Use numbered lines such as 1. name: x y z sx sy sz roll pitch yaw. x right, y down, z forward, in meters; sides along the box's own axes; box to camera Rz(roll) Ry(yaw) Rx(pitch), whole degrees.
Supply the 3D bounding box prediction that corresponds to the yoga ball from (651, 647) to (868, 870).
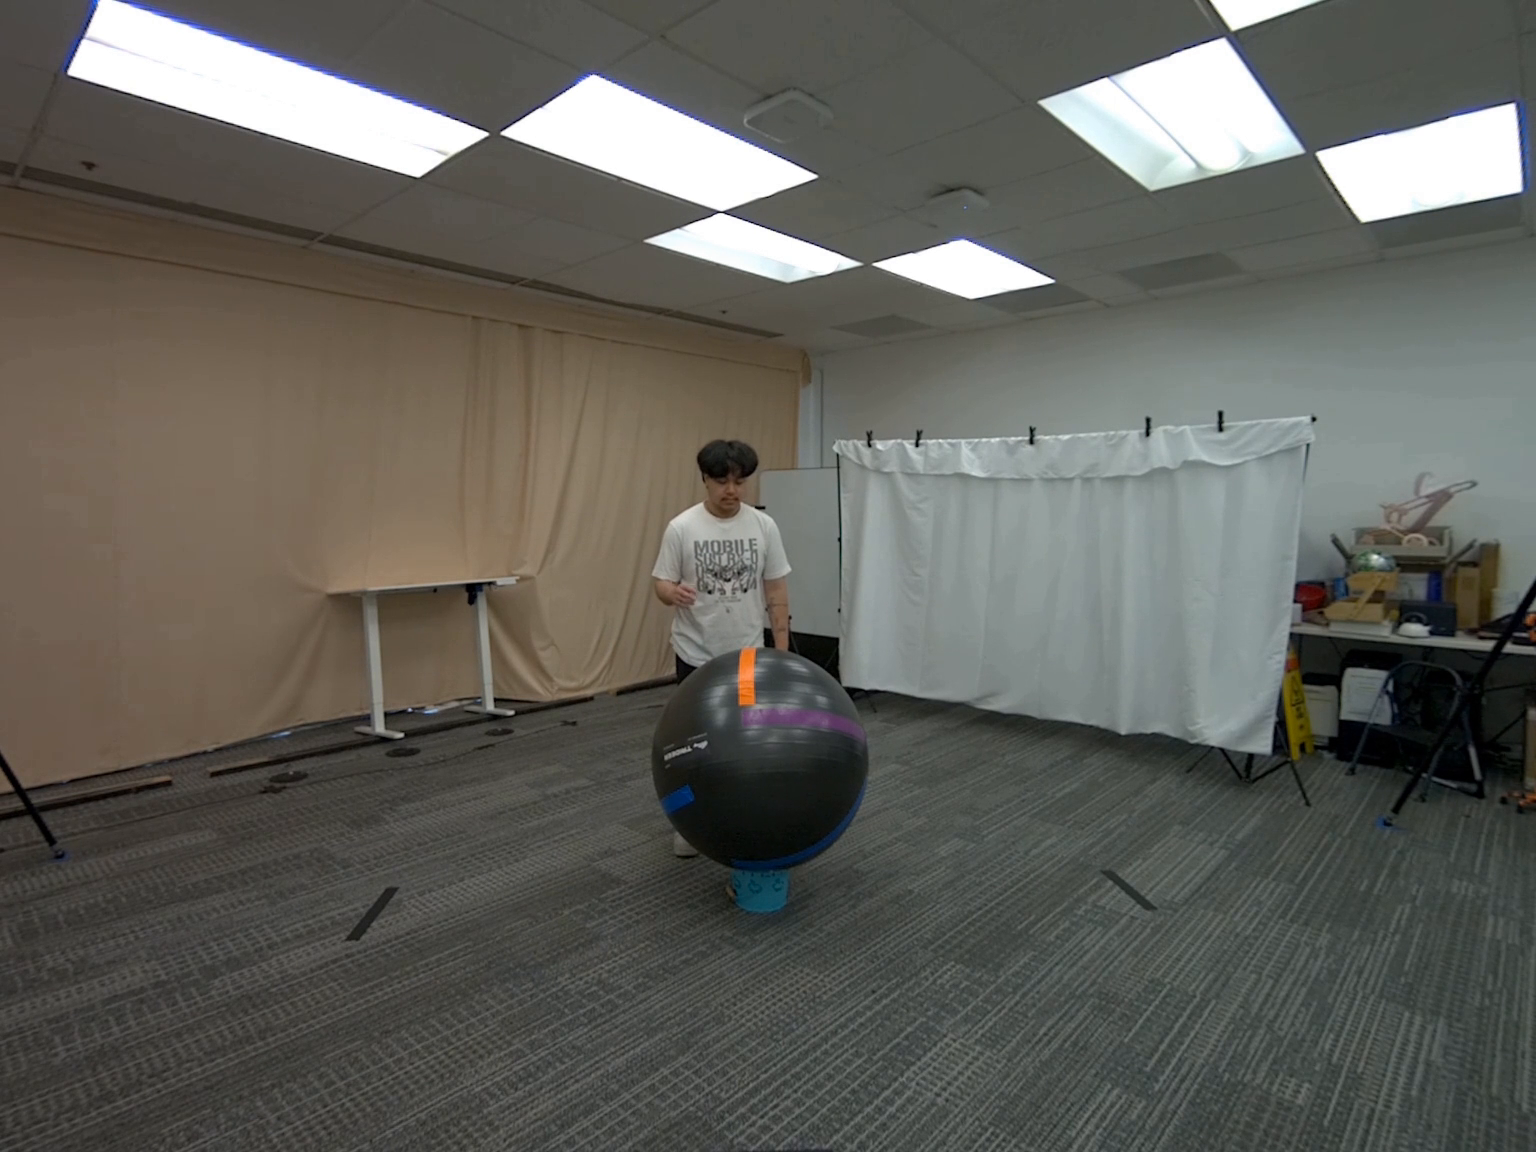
1. yoga ball: -0.032 0.638 2.946 0.757 0.756 0.761 0 4 -2
